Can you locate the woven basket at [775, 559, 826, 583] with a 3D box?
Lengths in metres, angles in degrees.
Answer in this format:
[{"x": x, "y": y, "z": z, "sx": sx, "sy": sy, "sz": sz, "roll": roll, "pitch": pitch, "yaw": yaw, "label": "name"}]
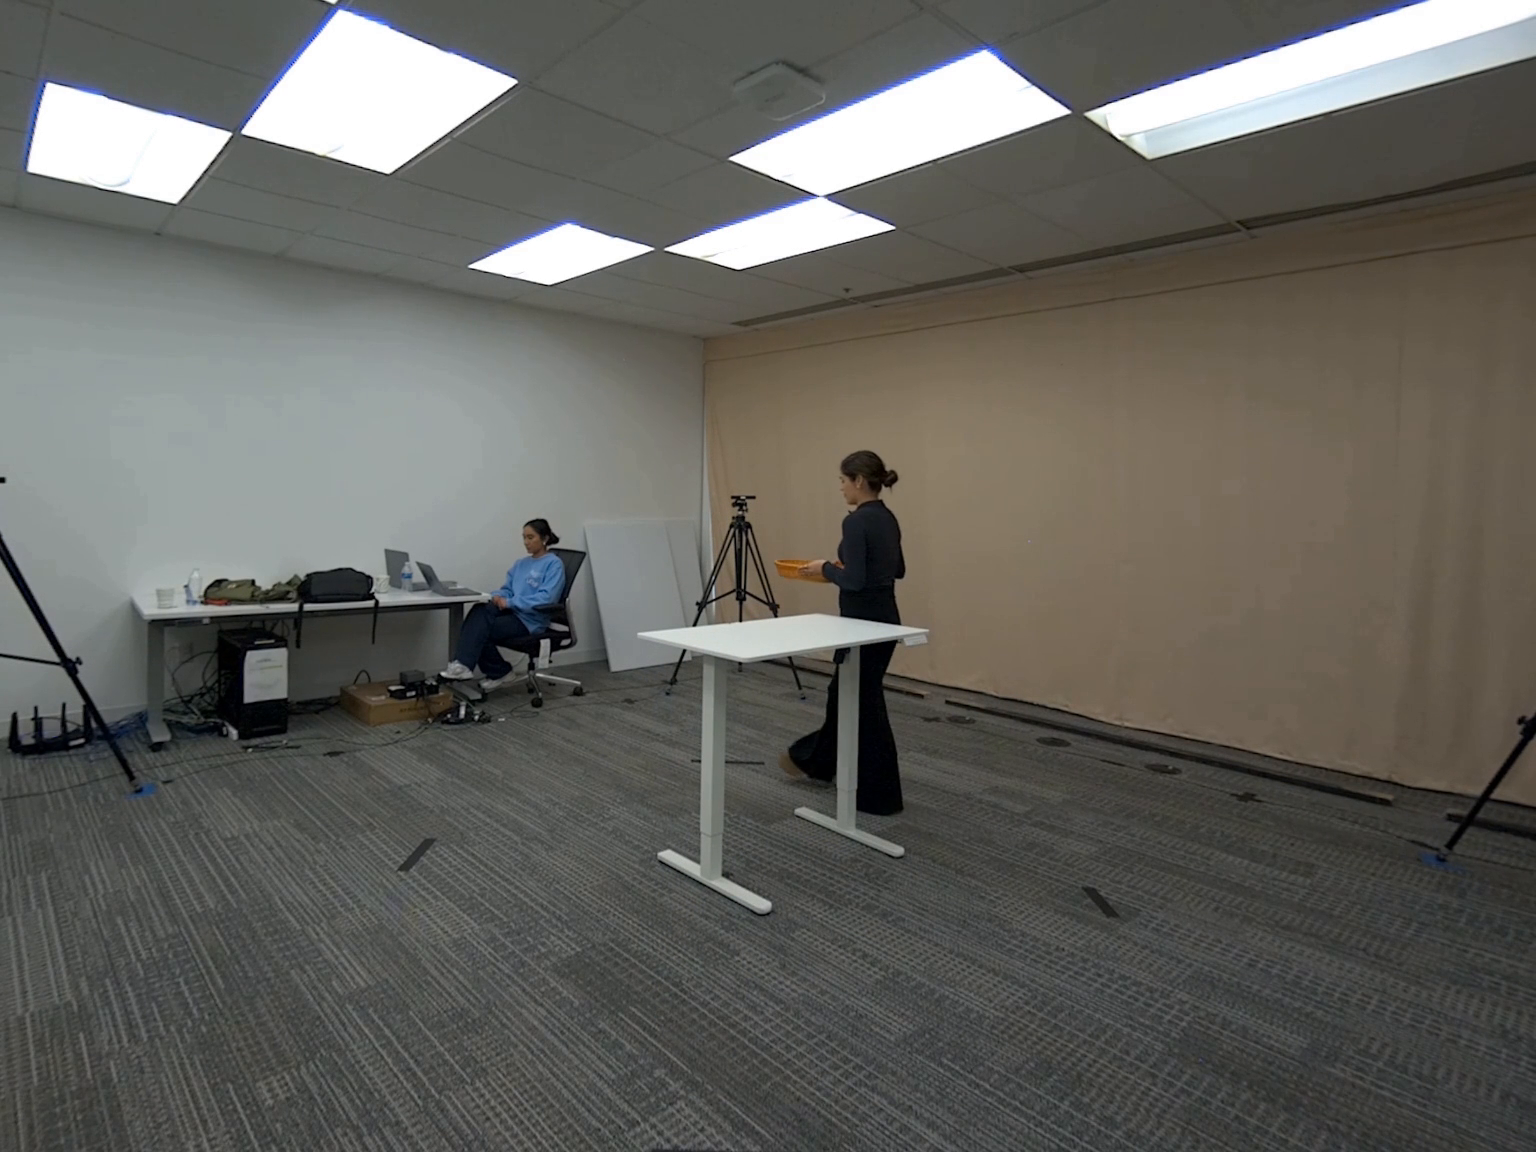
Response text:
[{"x": 0.204, "y": -0.024, "z": 4.015, "sx": 0.357, "sy": 0.073, "sz": 0.249, "roll": 7, "pitch": 9, "yaw": 22, "label": "woven basket"}]
